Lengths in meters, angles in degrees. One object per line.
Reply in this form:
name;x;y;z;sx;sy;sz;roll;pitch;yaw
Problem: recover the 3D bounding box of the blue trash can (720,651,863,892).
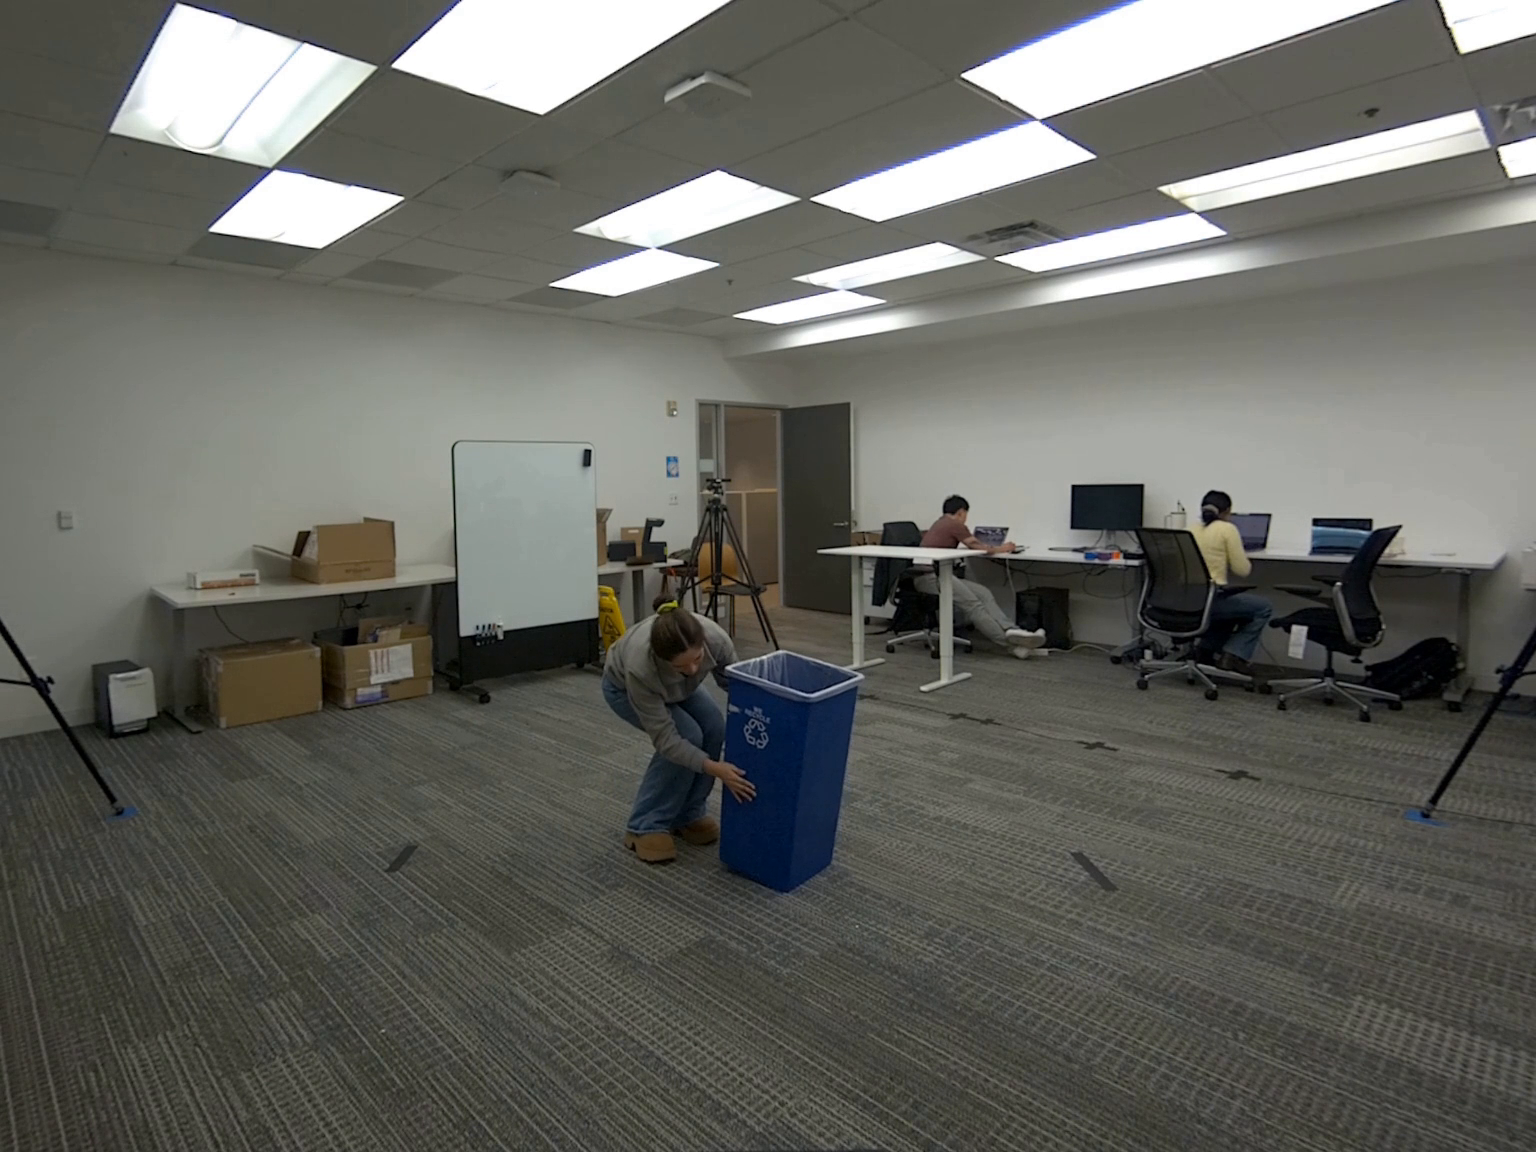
blue trash can;0.067;0.680;3.022;0.386;0.708;0.369;11;11;36
